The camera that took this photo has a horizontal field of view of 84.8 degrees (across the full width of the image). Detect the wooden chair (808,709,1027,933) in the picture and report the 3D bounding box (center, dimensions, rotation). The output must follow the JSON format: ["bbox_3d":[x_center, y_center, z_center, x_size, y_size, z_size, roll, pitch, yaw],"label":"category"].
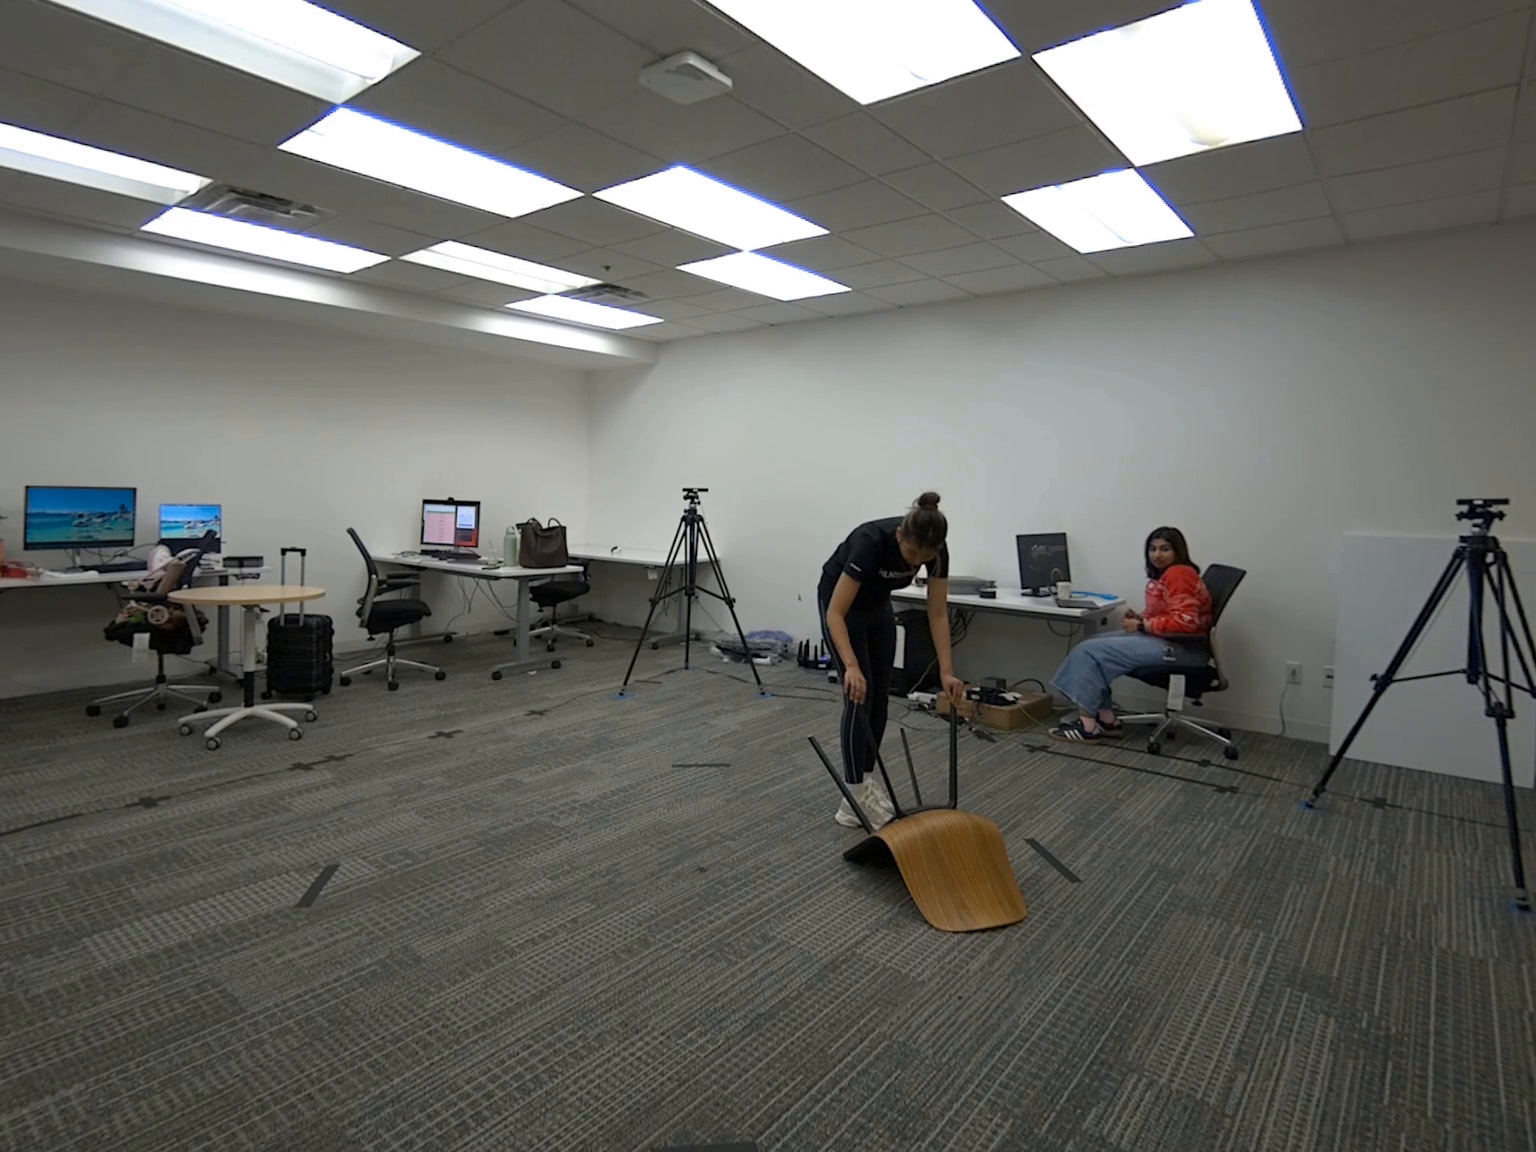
[{"bbox_3d":[0.531,0.910,3.160,0.468,0.907,0.517,0,-36,-22],"label":"wooden chair"}]
